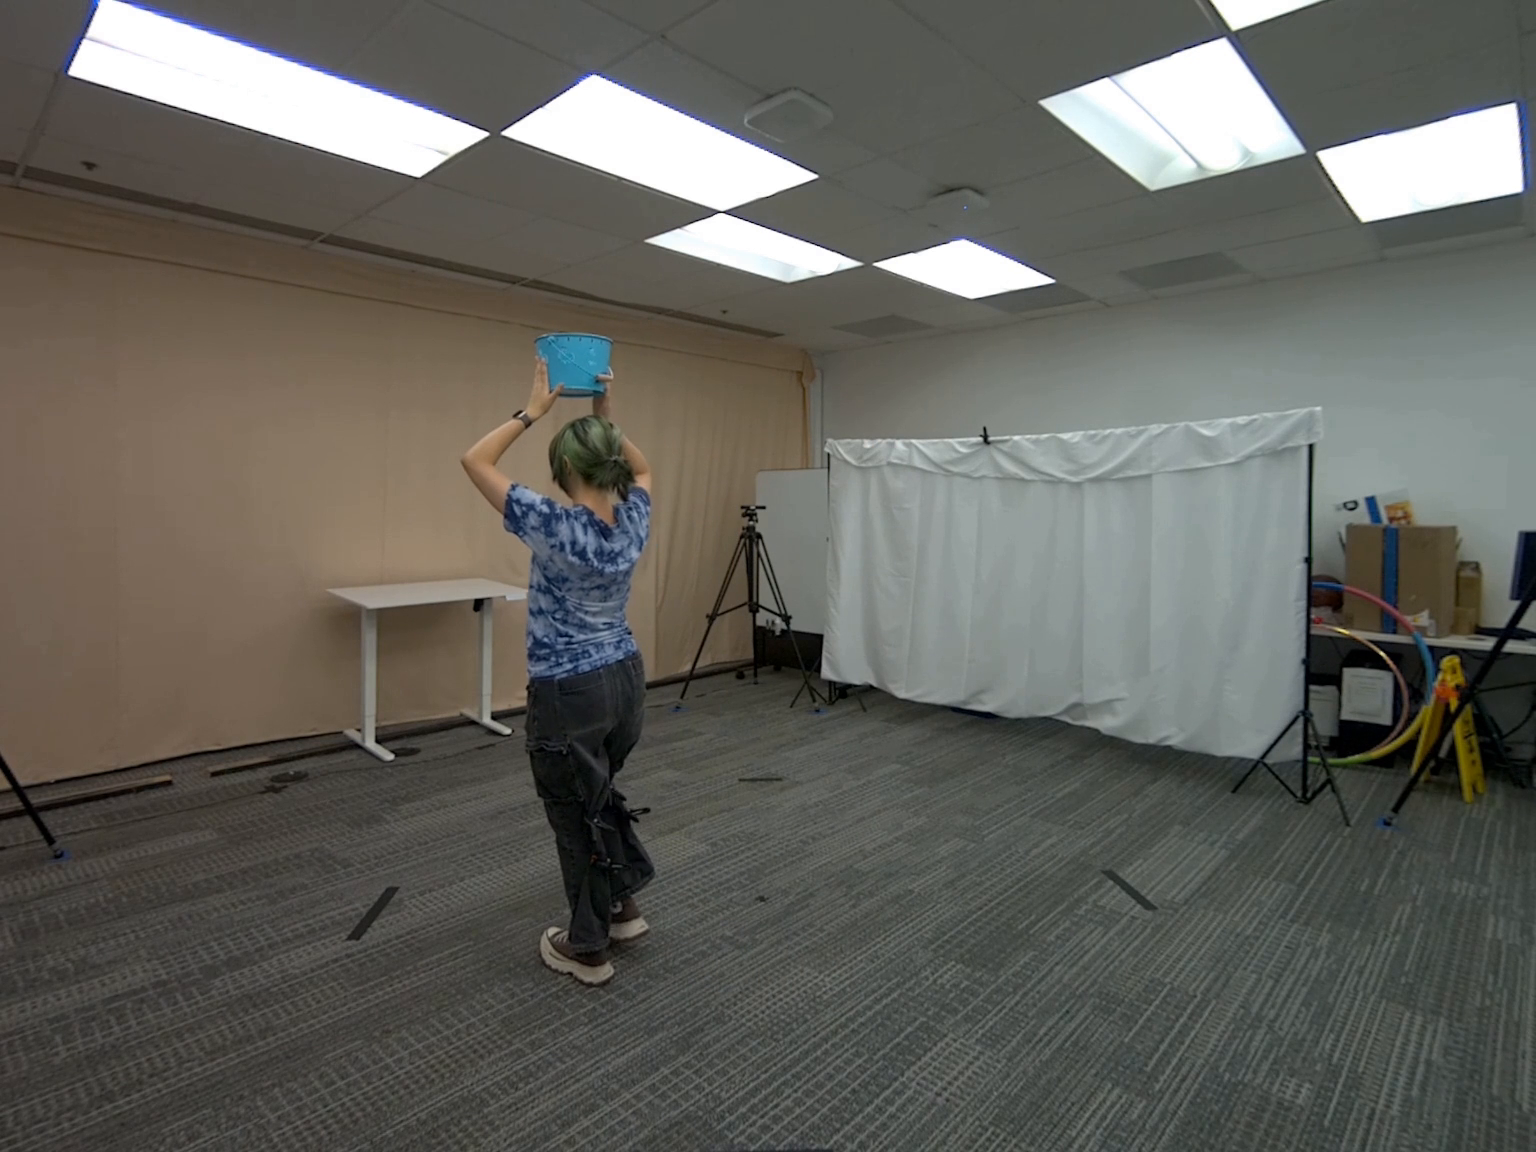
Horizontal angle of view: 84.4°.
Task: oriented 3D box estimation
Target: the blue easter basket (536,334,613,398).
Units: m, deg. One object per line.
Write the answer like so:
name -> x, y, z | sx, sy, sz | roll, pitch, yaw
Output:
blue easter basket -> -0.579, -0.623, 2.484 | 0.243, 0.156, 0.244 | -1, 2, -2
